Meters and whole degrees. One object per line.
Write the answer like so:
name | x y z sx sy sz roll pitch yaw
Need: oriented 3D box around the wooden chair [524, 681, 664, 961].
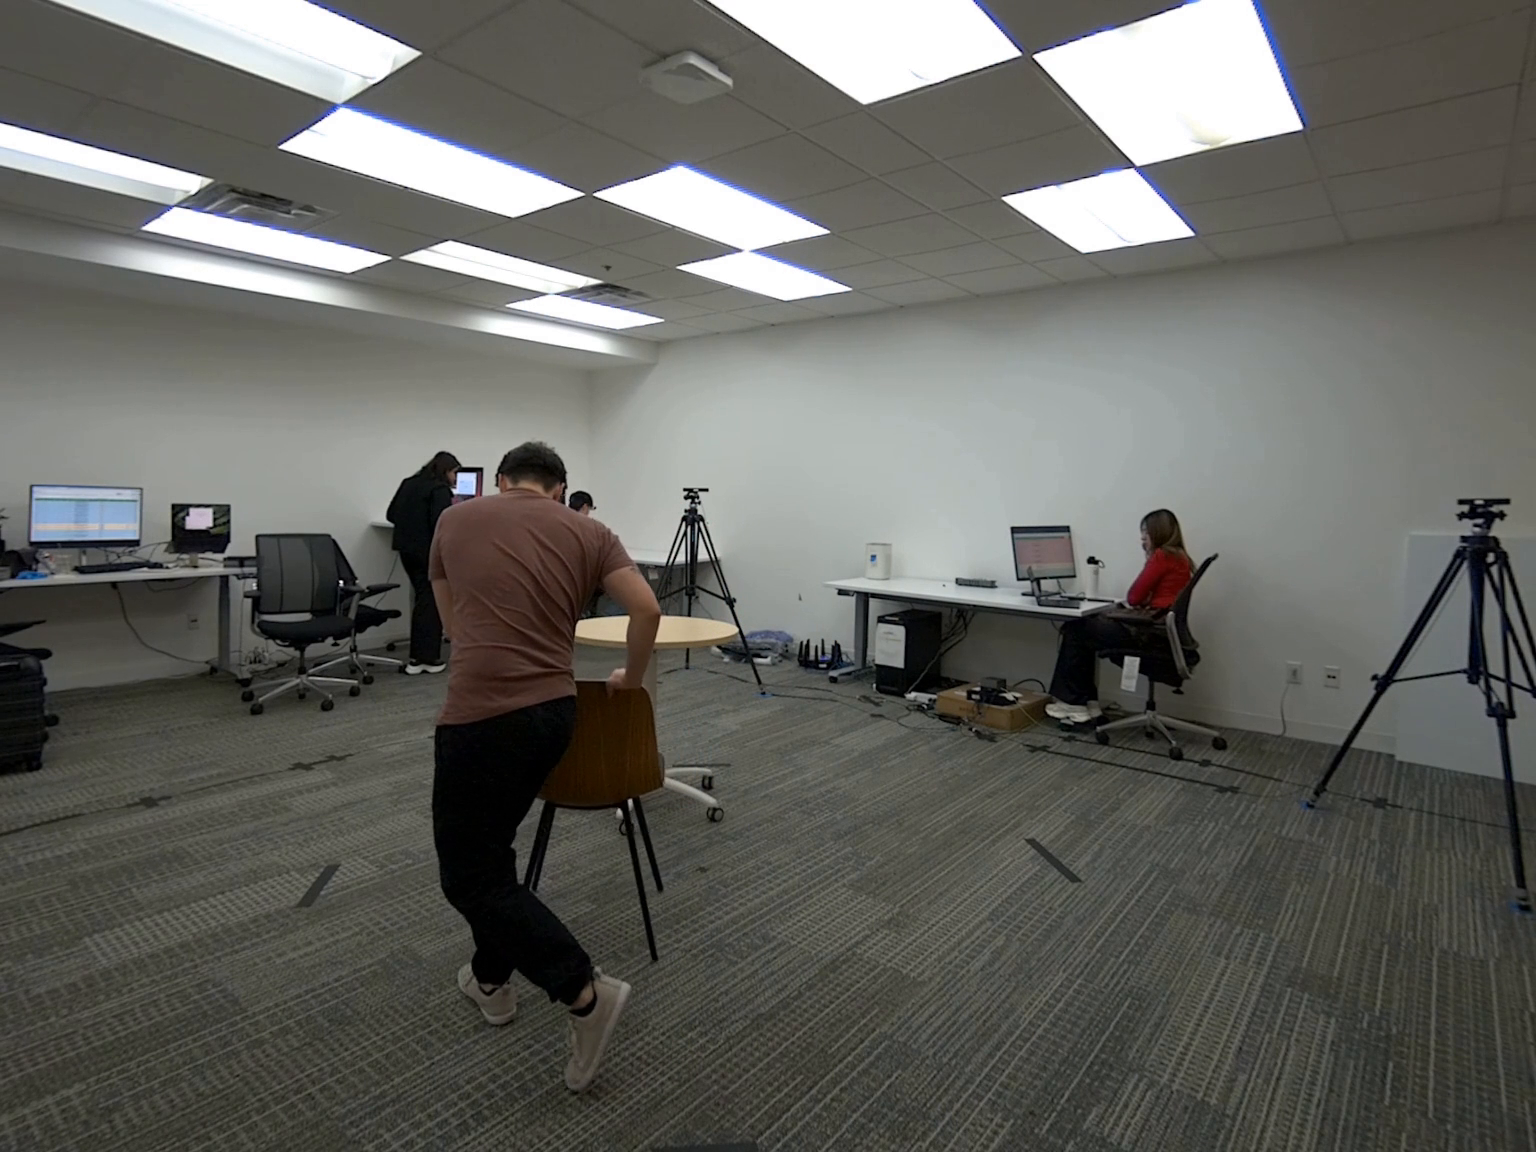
wooden chair | -0.571 0.675 2.692 0.477 0.871 0.528 0 7 -3
